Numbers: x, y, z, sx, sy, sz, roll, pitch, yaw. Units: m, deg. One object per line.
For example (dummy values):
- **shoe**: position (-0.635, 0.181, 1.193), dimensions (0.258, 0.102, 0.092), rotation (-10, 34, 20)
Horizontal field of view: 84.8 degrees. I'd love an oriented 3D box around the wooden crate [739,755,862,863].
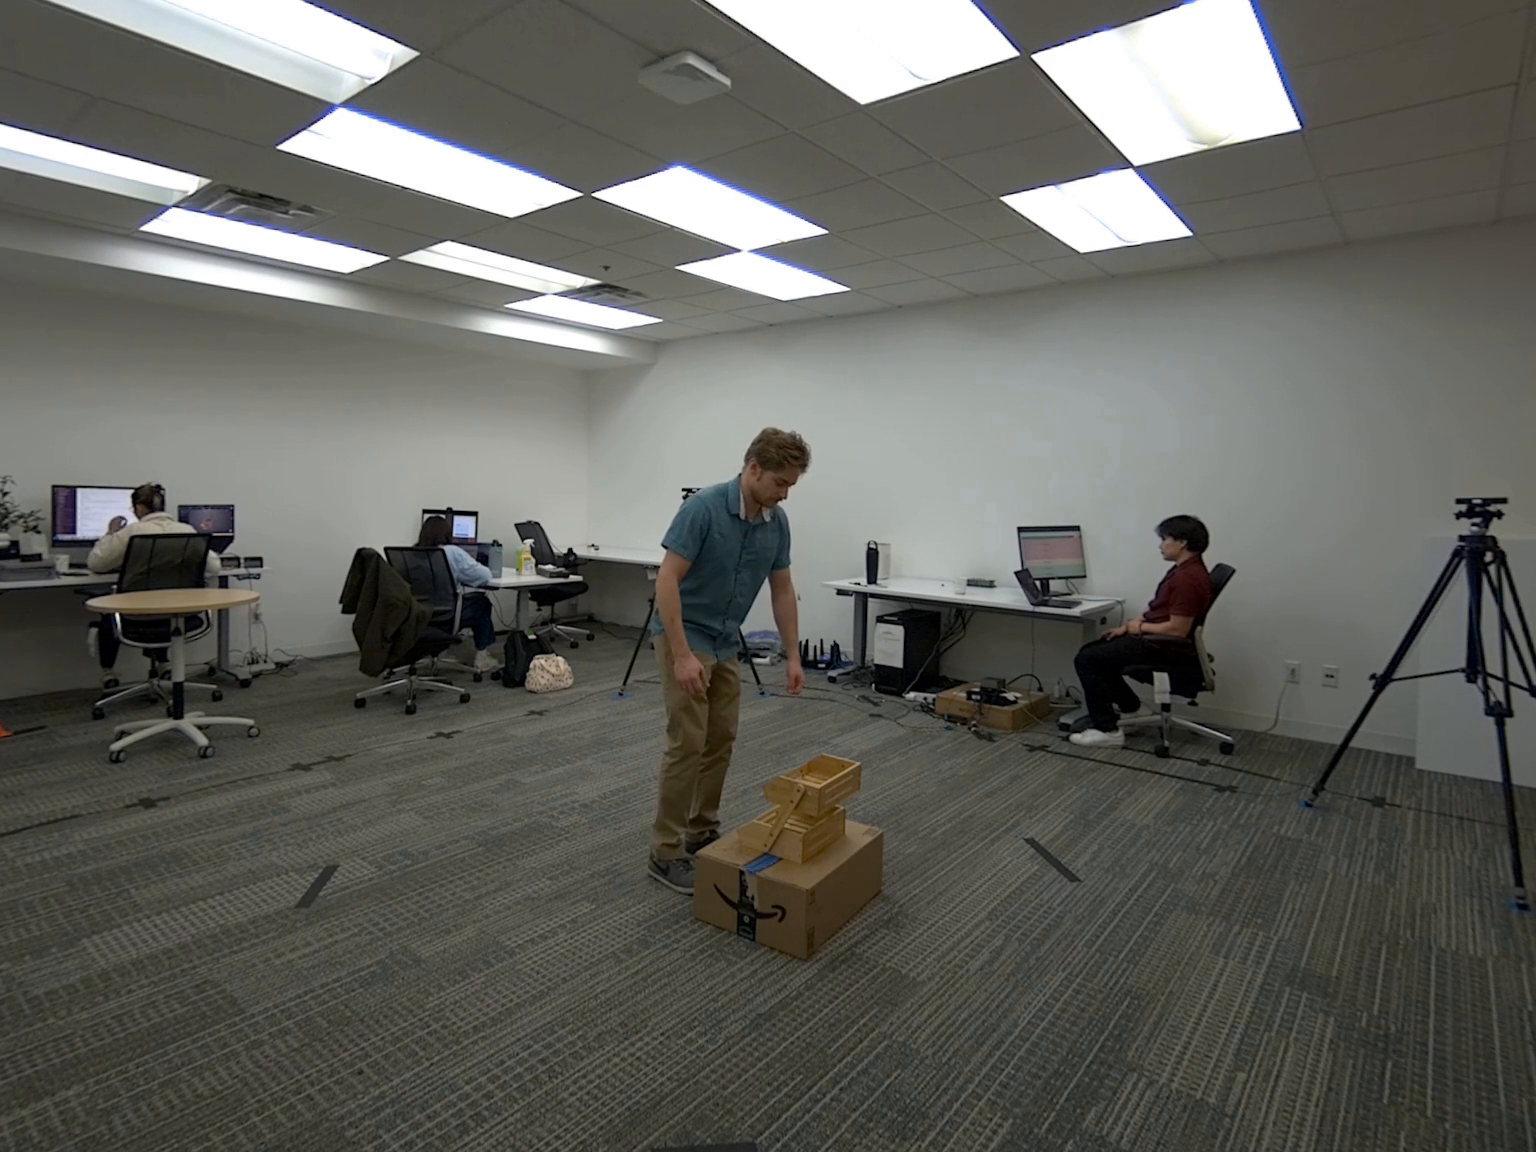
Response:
- **wooden crate**: position (0.100, 0.755, 2.859), dimensions (0.312, 0.272, 0.315), rotation (6, 7, 34)
